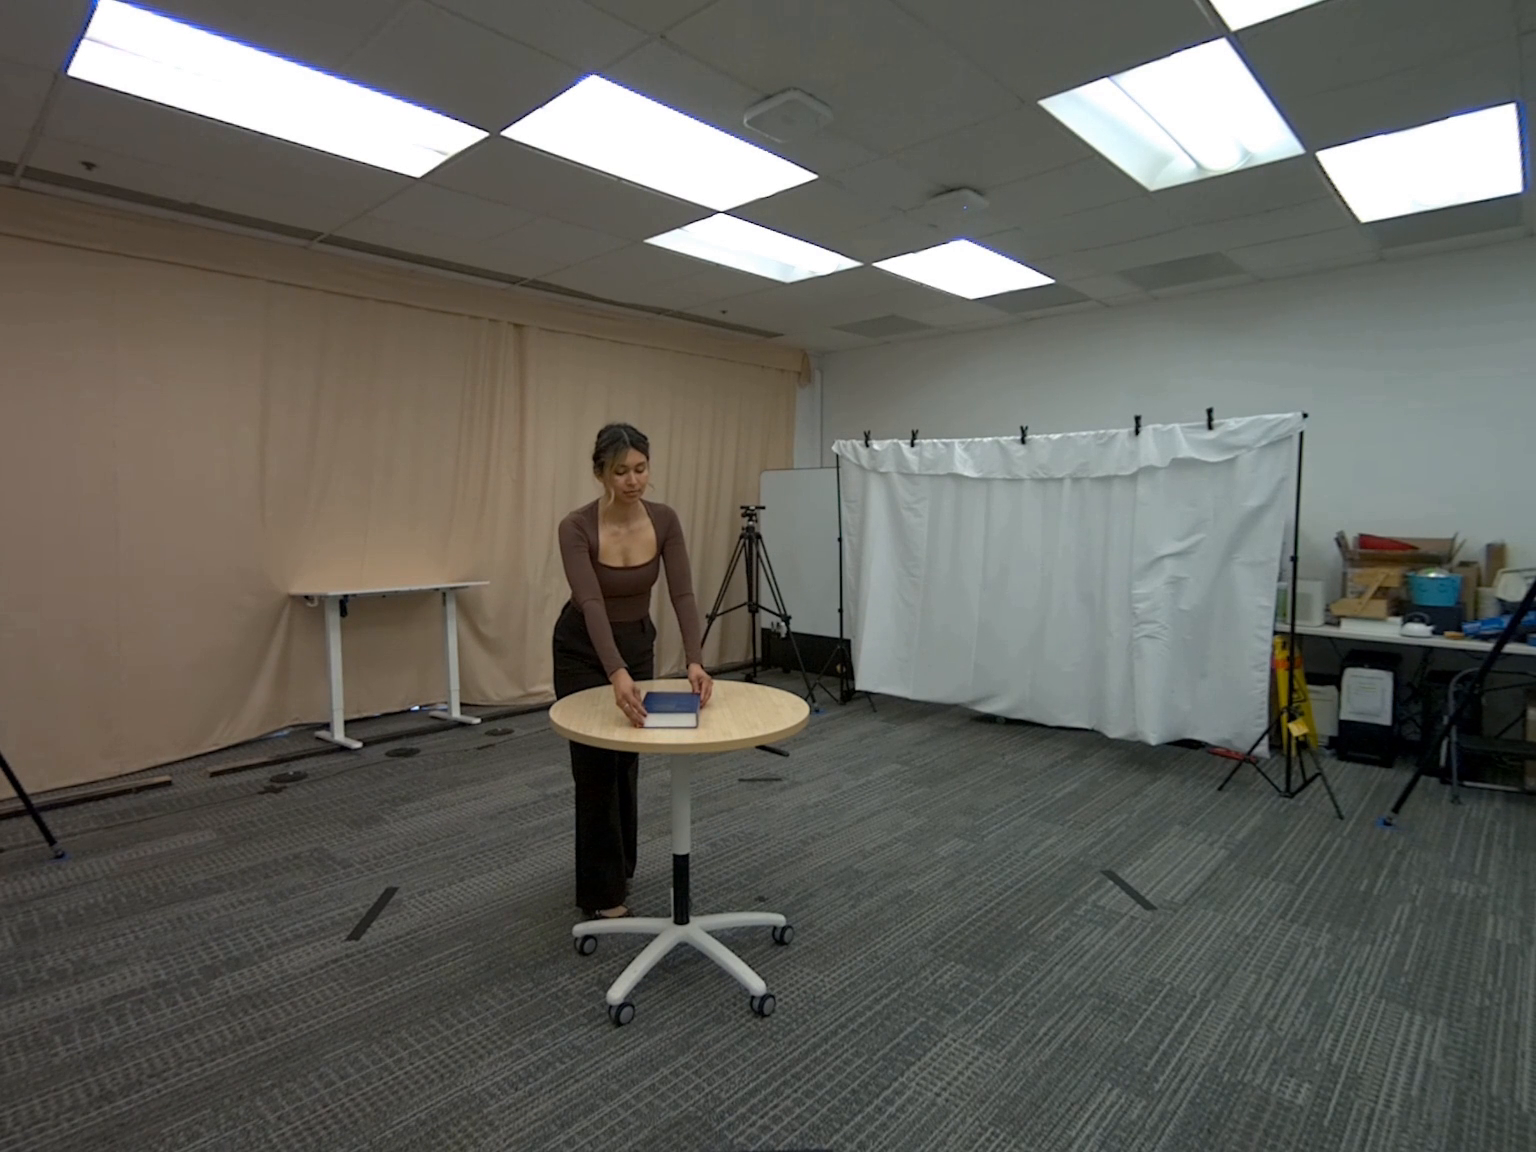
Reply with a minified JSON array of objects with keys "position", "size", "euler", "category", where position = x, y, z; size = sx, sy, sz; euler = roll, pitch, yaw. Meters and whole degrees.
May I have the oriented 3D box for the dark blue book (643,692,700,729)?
[{"position":[-0.274,0.384,2.364],"size":[0.163,0.045,0.246],"euler":[0,5,-2],"category":"dark blue book"}]
